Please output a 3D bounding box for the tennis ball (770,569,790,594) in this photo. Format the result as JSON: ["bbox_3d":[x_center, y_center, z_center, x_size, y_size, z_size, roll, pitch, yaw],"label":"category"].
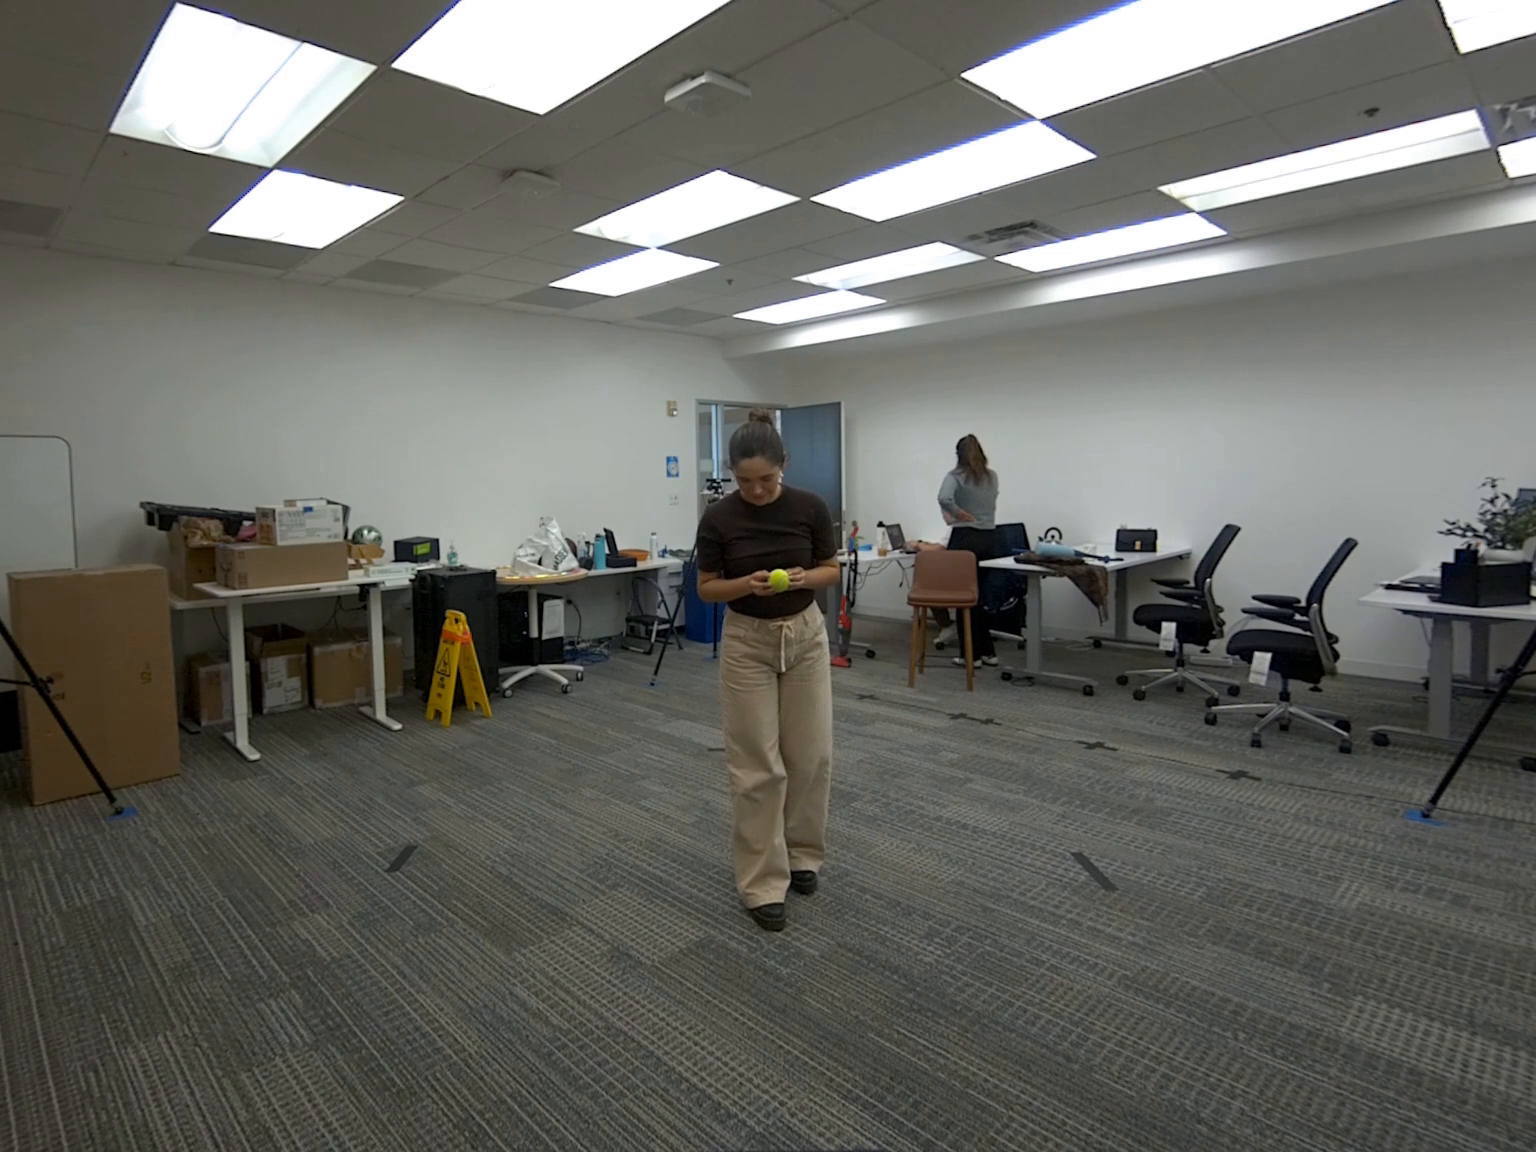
[{"bbox_3d":[0.069,0.008,2.608,0.066,0.066,0.067,-1,5,-2],"label":"tennis ball"}]
